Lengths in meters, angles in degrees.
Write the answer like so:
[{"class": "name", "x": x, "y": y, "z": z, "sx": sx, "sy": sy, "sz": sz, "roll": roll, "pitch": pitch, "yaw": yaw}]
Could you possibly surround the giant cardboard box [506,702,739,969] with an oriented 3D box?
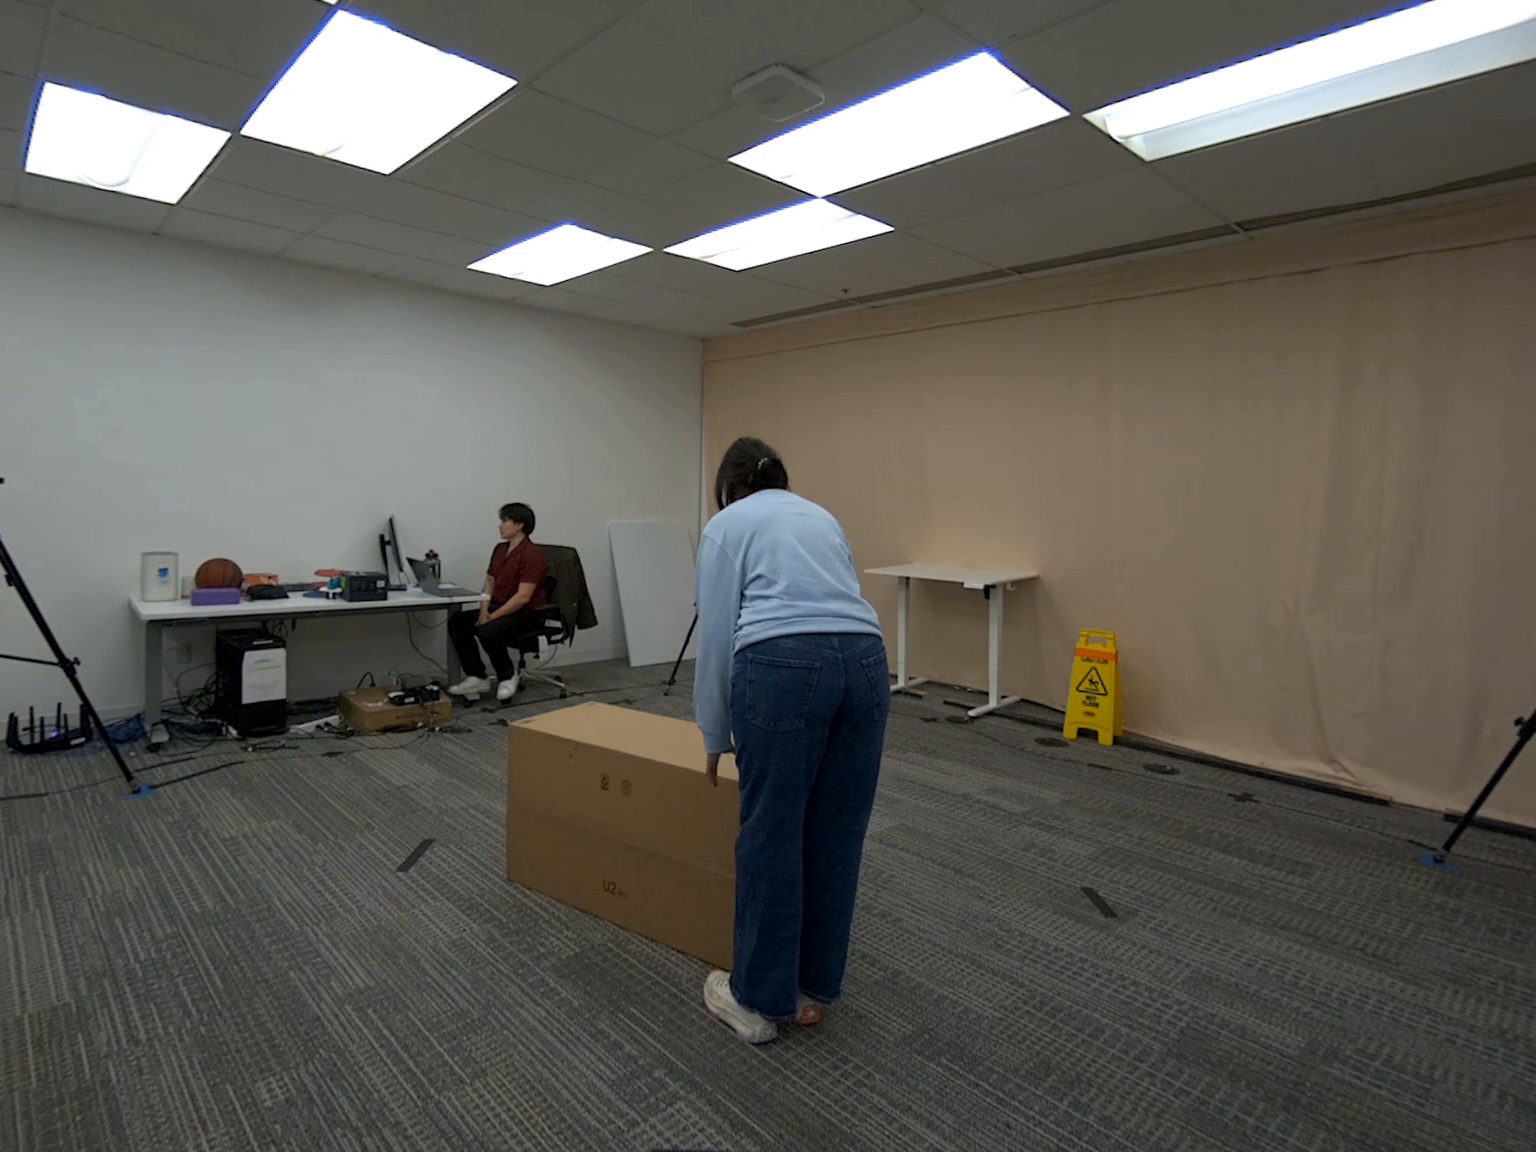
[{"class": "giant cardboard box", "x": -0.398, "y": 0.833, "z": 2.895, "sx": 1.051, "sy": 0.582, "sz": 0.437, "roll": 5, "pitch": 6, "yaw": 35}]
